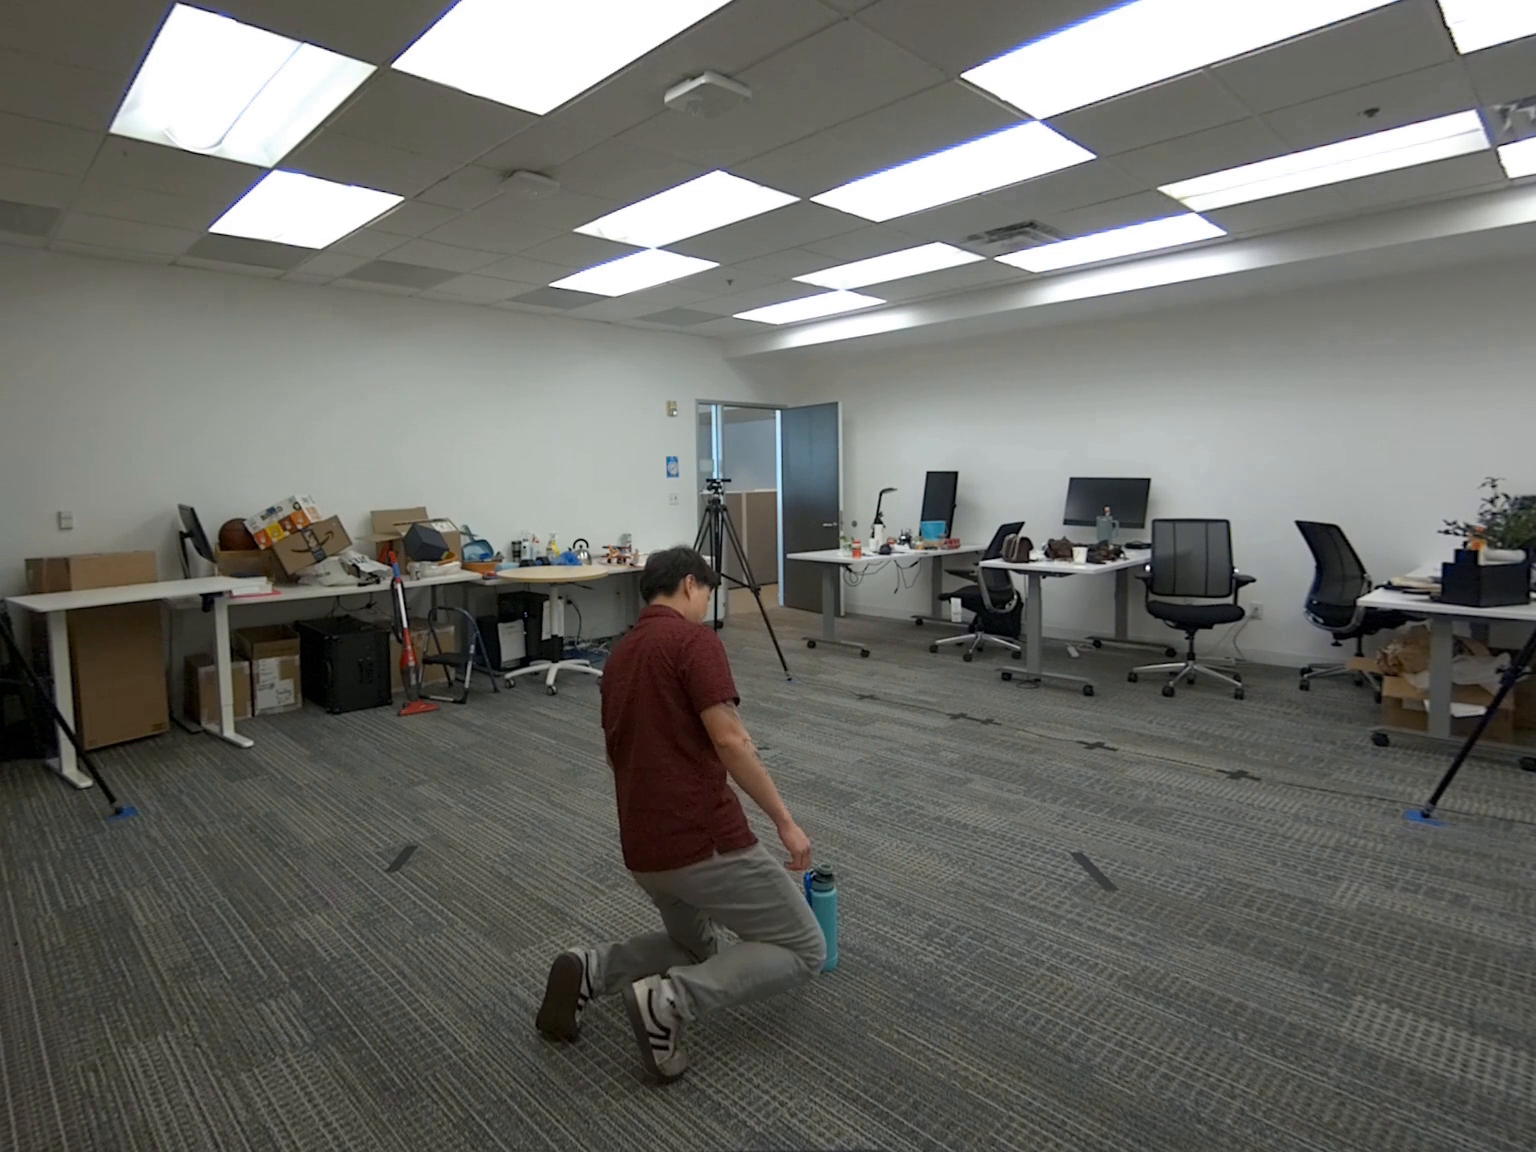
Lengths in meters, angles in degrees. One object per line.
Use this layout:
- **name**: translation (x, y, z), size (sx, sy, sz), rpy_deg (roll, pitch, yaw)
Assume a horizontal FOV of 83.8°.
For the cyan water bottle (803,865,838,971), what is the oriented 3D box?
- **cyan water bottle**: translation (0.160, 0.980, 2.448), size (0.092, 0.282, 0.093), rpy_deg (-2, 5, -1)
